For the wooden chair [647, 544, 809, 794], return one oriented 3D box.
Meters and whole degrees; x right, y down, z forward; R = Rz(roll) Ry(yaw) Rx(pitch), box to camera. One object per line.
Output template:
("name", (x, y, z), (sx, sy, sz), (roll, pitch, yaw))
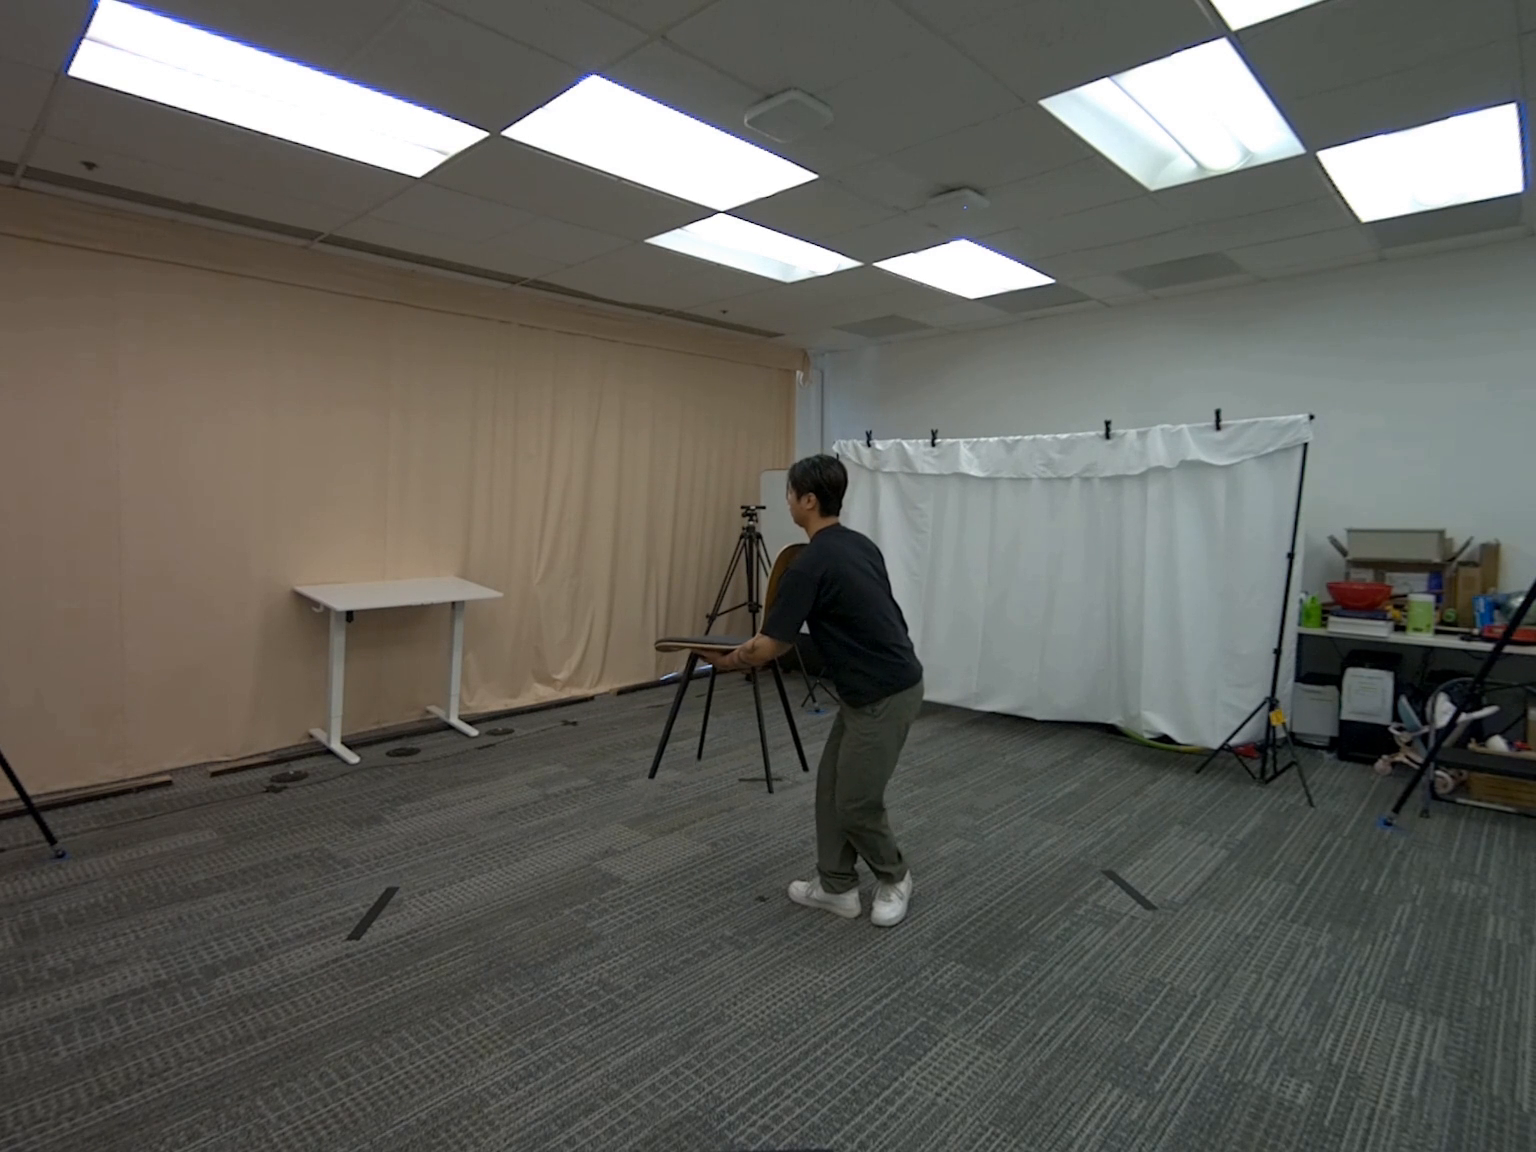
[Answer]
("wooden chair", (-0.123, 0.304, 3.081), (0.535, 0.878, 0.467), (5, -2, 20))
